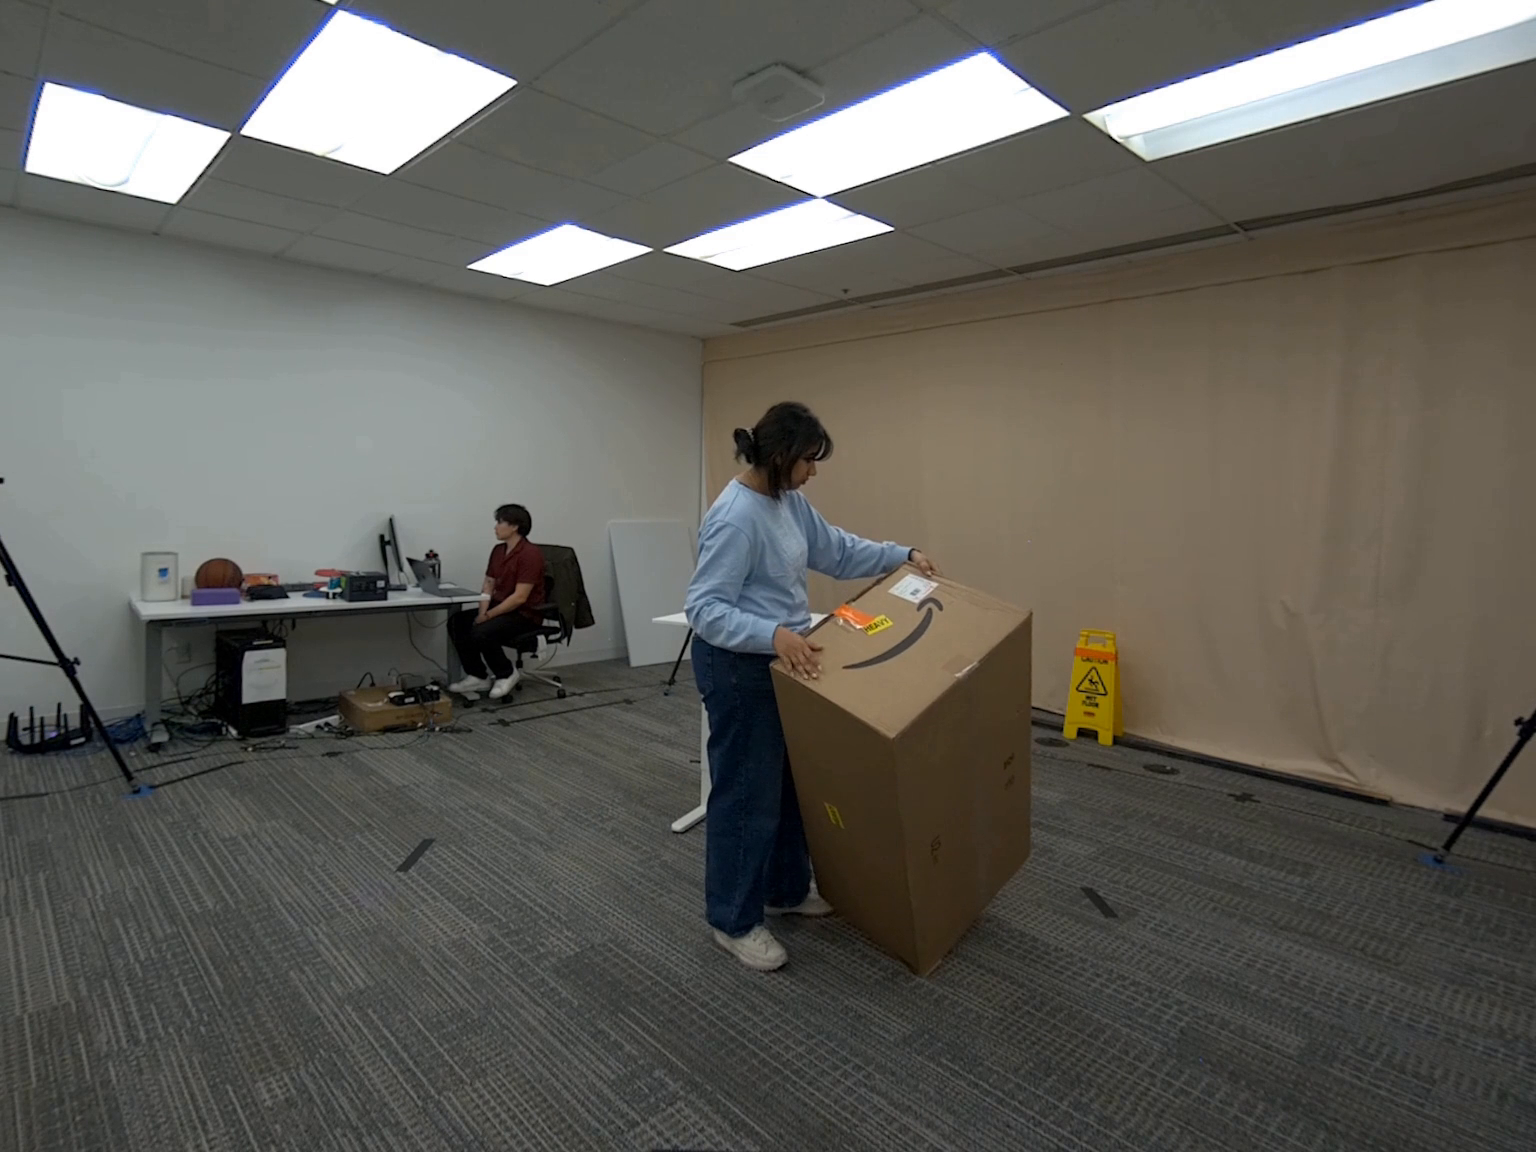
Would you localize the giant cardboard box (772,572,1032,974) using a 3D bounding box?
[{"bbox_3d":[0.426,0.572,2.486,0.574,1.001,0.439,-35,39,-30],"label":"giant cardboard box"}]
